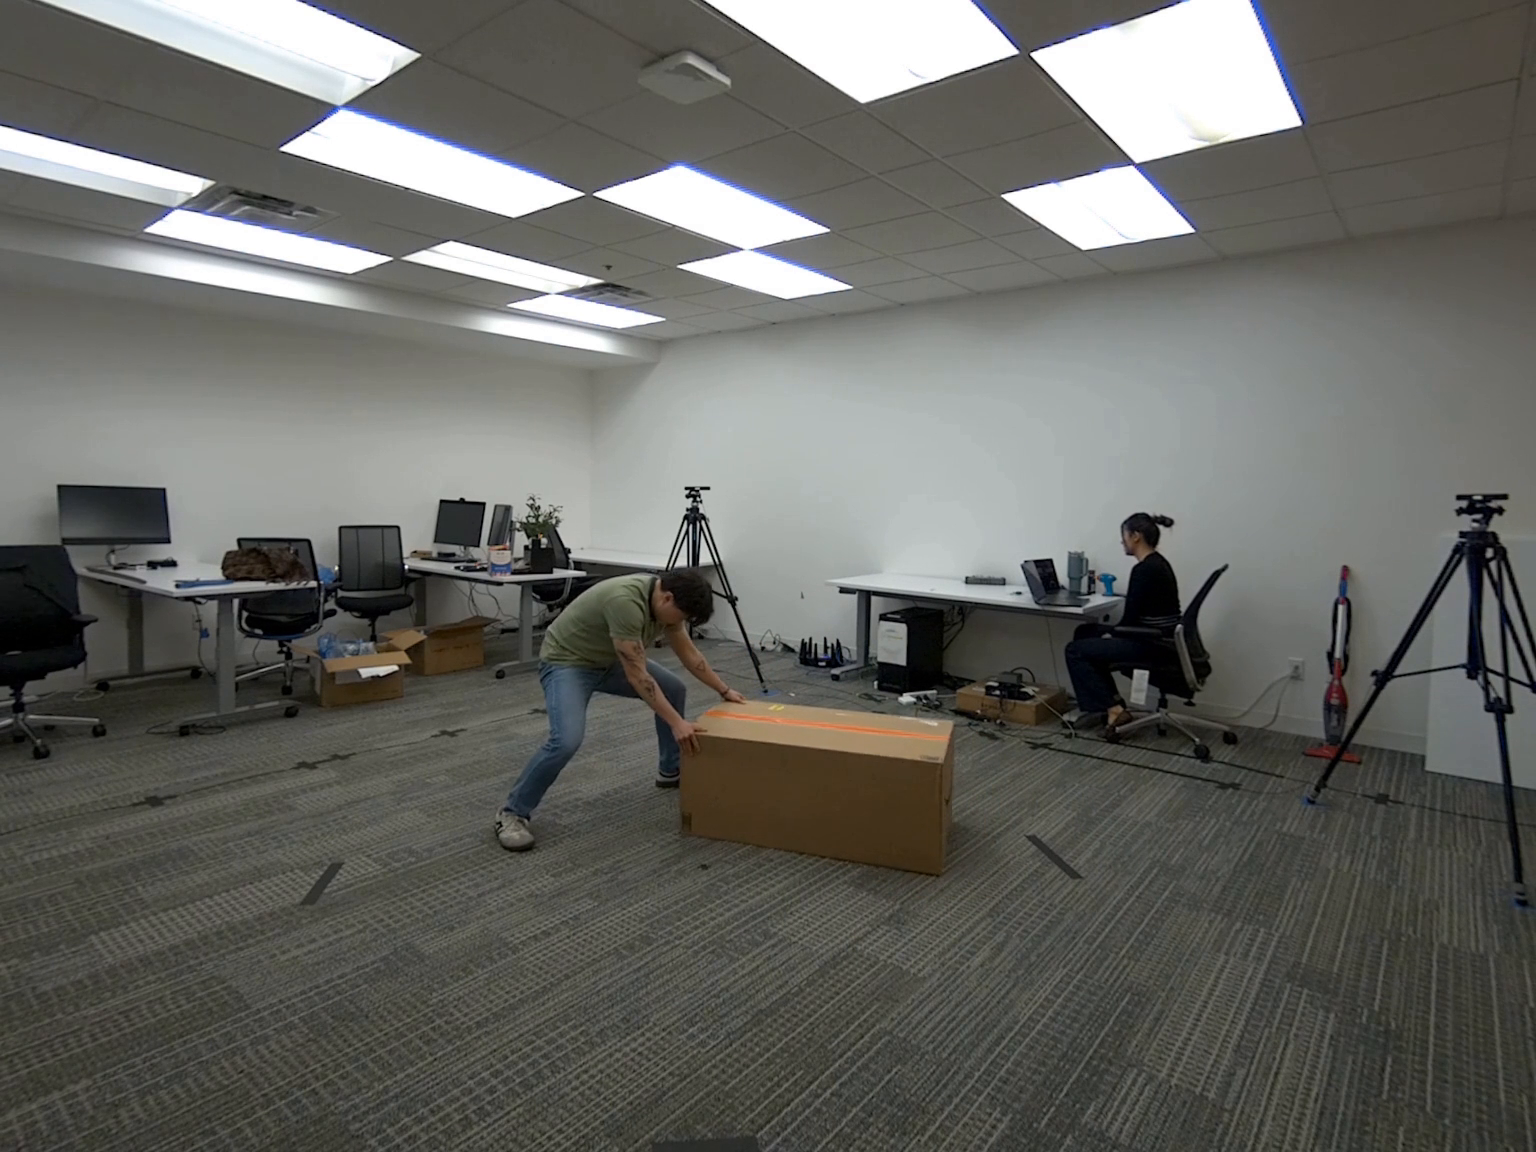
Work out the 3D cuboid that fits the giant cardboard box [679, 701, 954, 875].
[{"bbox_3d":[0.207,0.817,3.490,1.047,0.425,0.568,2,5,19],"label":"giant cardboard box"}]
